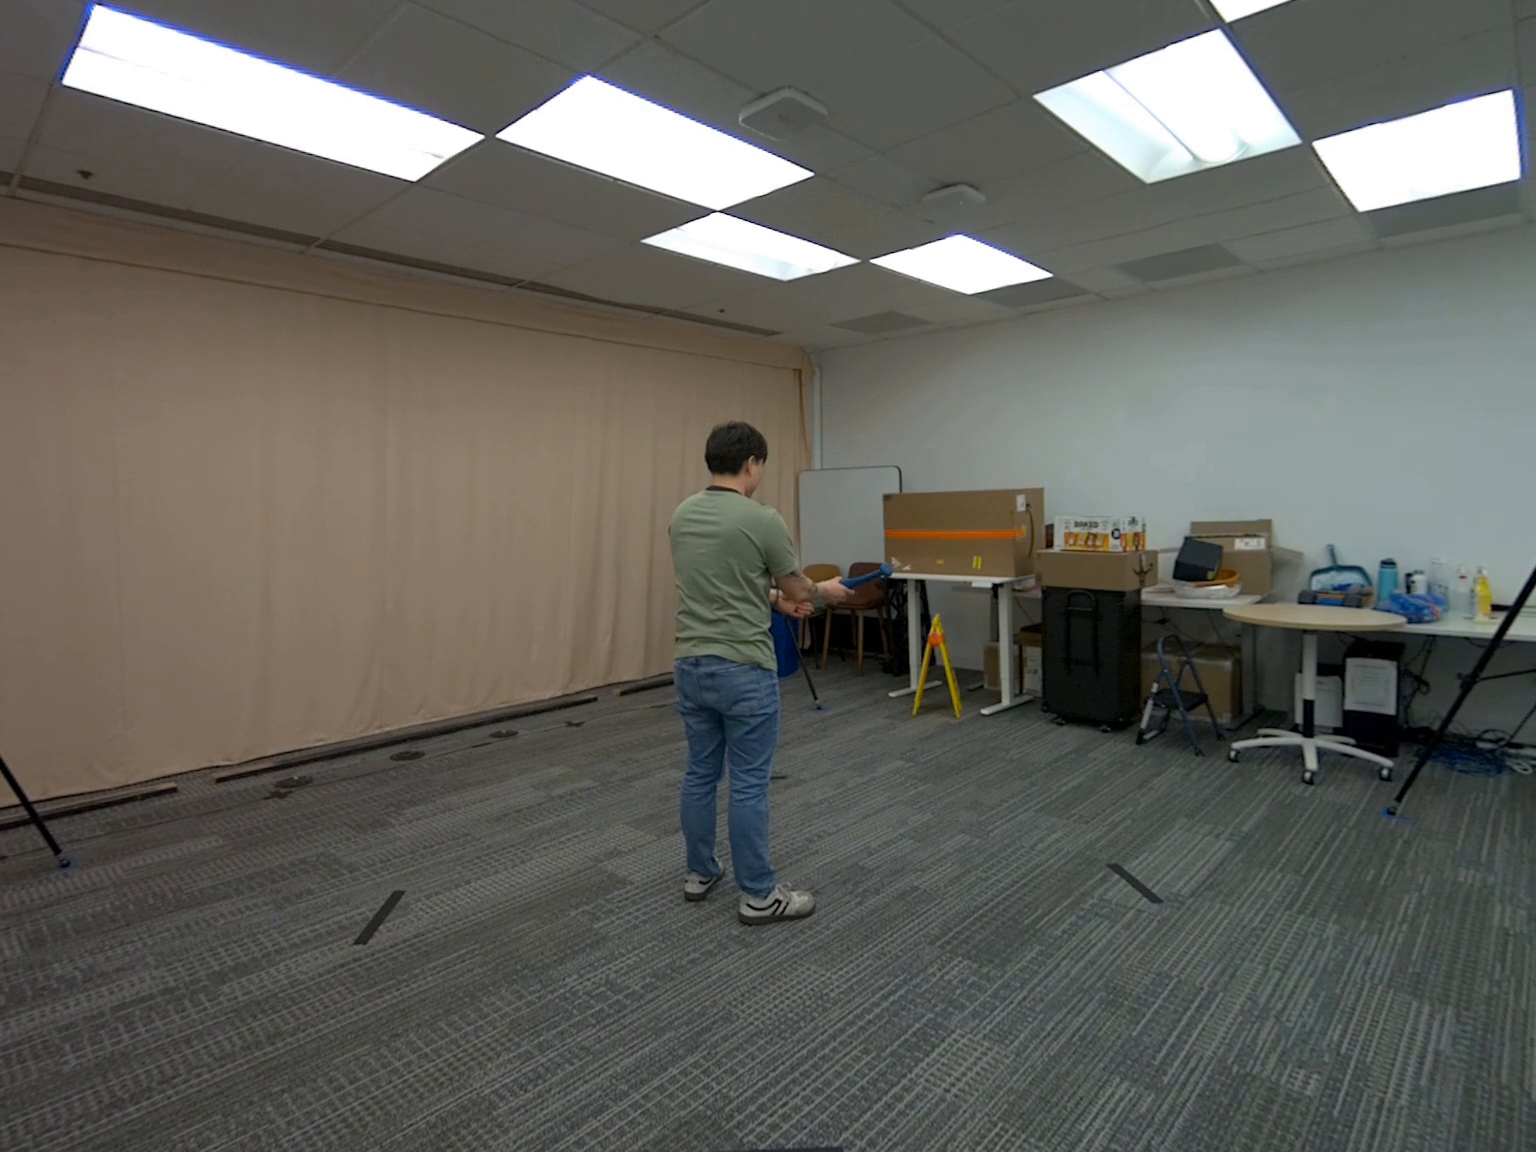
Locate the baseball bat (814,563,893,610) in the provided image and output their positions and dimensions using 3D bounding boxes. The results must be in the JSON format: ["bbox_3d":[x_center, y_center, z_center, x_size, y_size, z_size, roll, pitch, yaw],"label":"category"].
[{"bbox_3d":[0.284,0.045,3.176,0.086,0.090,0.554,-3,-11,-34],"label":"baseball bat"}]
